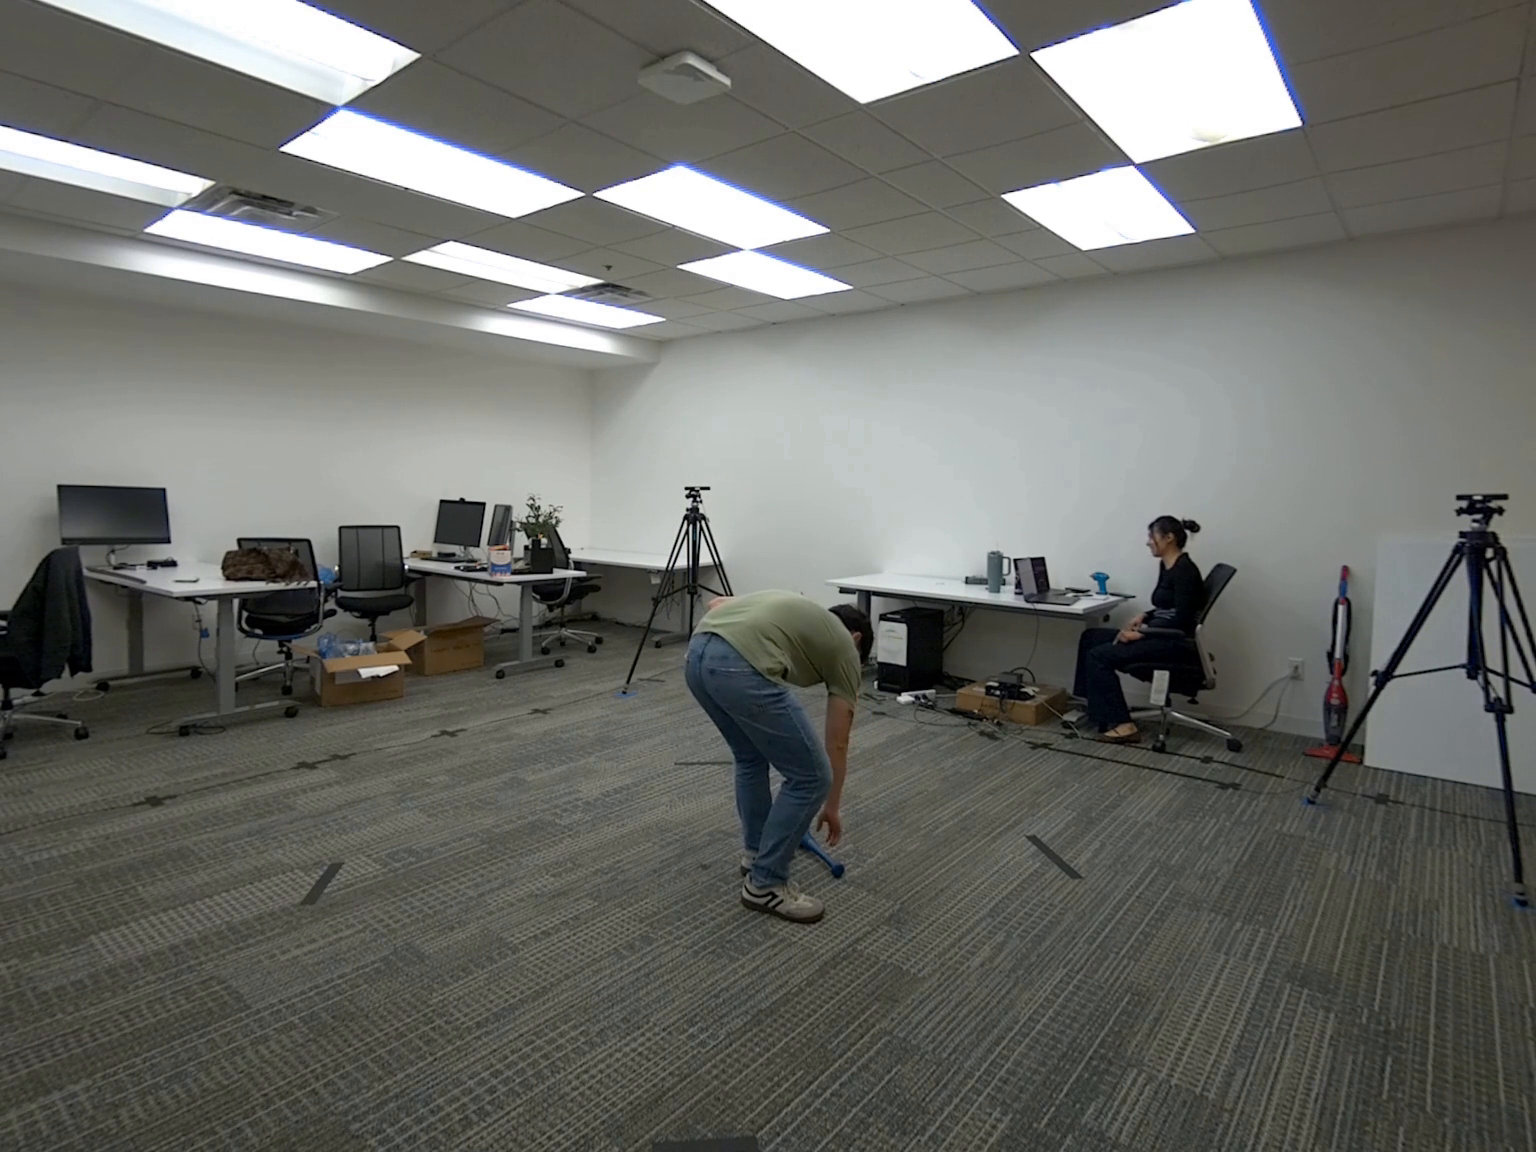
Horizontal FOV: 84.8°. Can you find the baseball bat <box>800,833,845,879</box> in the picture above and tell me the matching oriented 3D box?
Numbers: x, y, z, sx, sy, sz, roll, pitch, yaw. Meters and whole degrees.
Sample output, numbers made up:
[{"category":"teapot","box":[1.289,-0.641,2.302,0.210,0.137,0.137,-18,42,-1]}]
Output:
[{"category":"baseball bat","box":[0.130,1.011,3.292,0.087,0.088,0.560,-1,9,-26]}]
